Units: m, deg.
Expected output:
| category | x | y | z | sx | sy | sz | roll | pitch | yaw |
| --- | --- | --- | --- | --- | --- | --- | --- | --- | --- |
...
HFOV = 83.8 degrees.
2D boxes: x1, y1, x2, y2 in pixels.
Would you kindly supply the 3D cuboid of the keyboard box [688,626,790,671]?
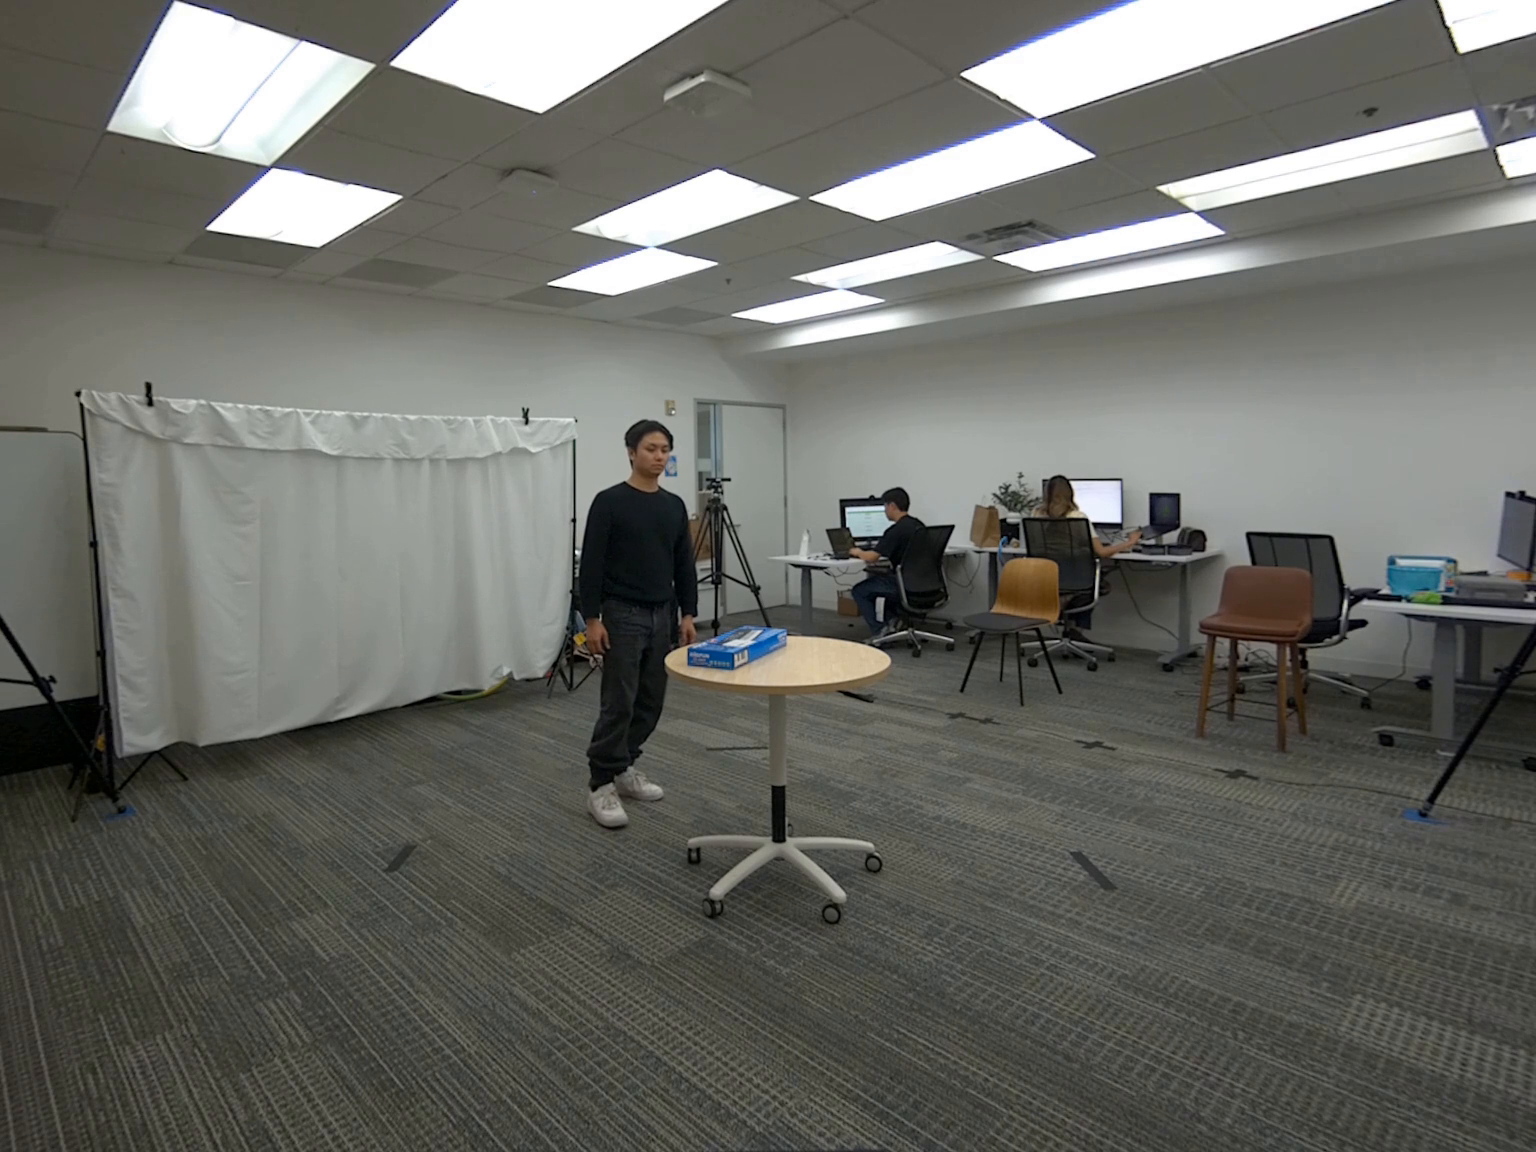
| category | x | y | z | sx | sy | sz | roll | pitch | yaw |
| --- | --- | --- | --- | --- | --- | --- | --- | --- | --- |
| keyboard box | -0.092 | 0.244 | 2.968 | 0.180 | 0.059 | 0.429 | 2 | 7 | 25 |
